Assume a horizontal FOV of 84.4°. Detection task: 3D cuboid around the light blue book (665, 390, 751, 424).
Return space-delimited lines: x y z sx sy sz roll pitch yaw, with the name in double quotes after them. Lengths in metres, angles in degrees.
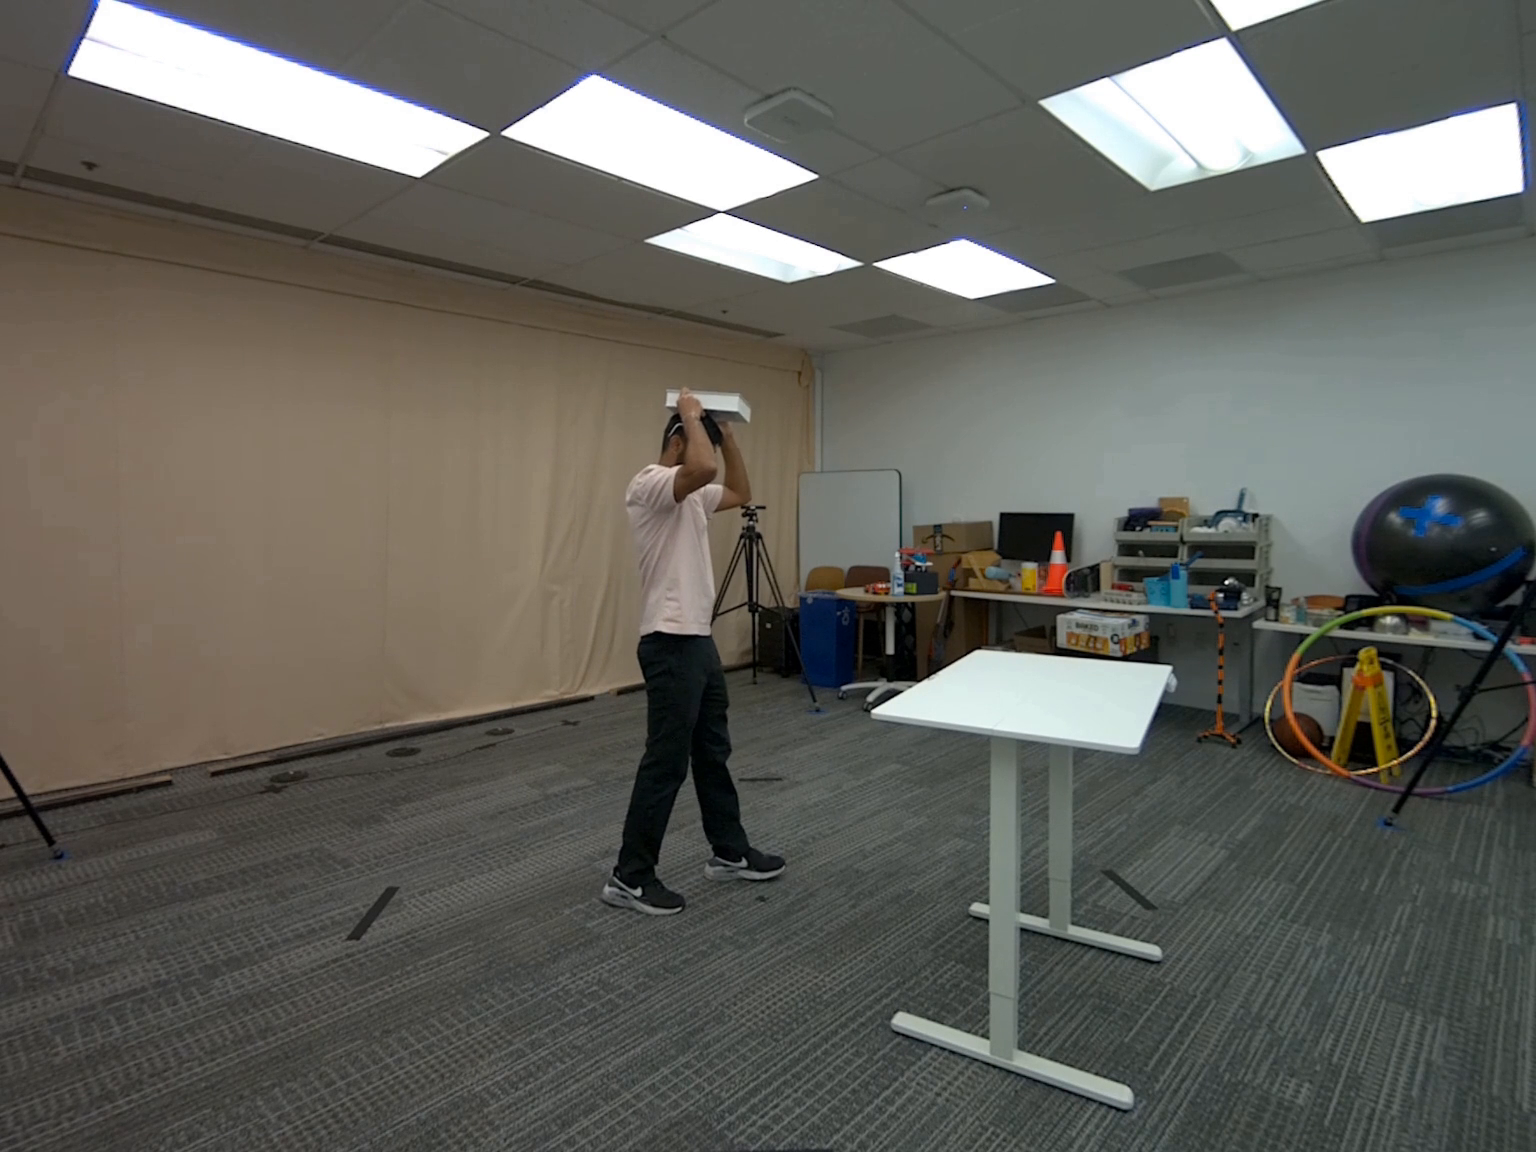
-0.216 -0.587 2.957 0.265 0.059 0.188 6 -3 11 "light blue book"
